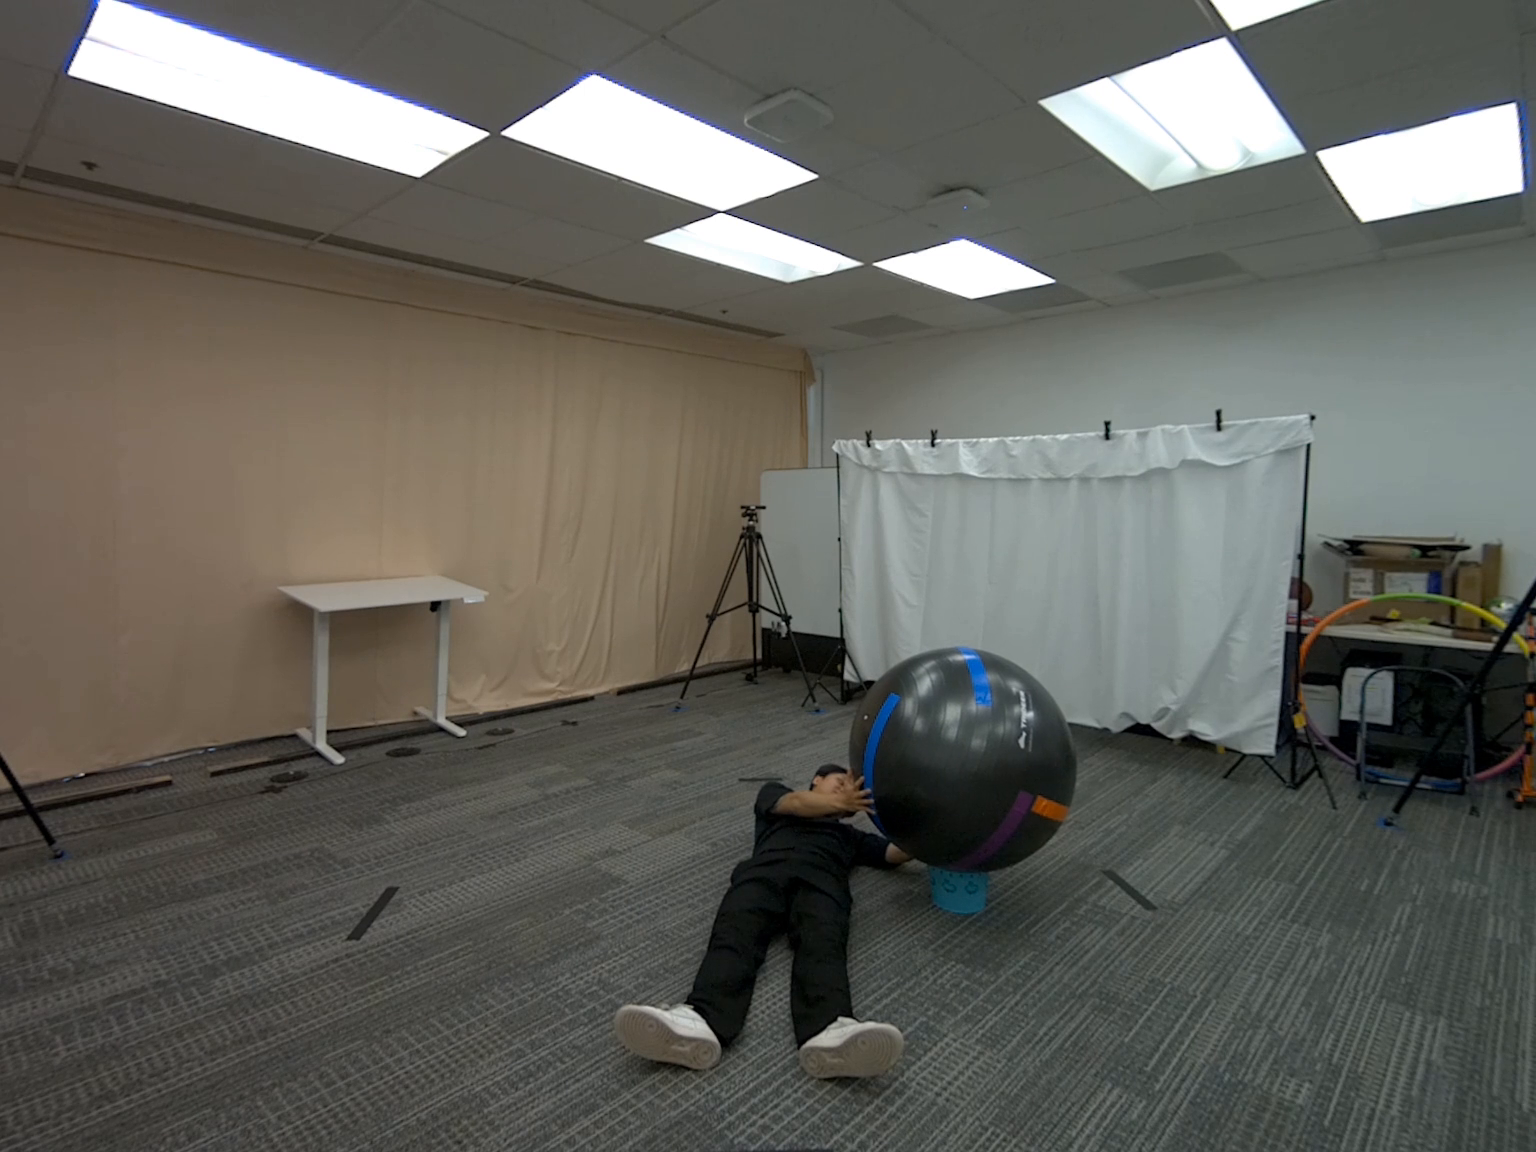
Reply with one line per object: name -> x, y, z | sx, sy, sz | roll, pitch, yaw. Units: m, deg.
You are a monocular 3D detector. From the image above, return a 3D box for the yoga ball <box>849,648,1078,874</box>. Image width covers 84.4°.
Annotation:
yoga ball -> 0.671, 0.635, 2.937 | 0.757, 0.756, 0.760 | 0, 4, -2
